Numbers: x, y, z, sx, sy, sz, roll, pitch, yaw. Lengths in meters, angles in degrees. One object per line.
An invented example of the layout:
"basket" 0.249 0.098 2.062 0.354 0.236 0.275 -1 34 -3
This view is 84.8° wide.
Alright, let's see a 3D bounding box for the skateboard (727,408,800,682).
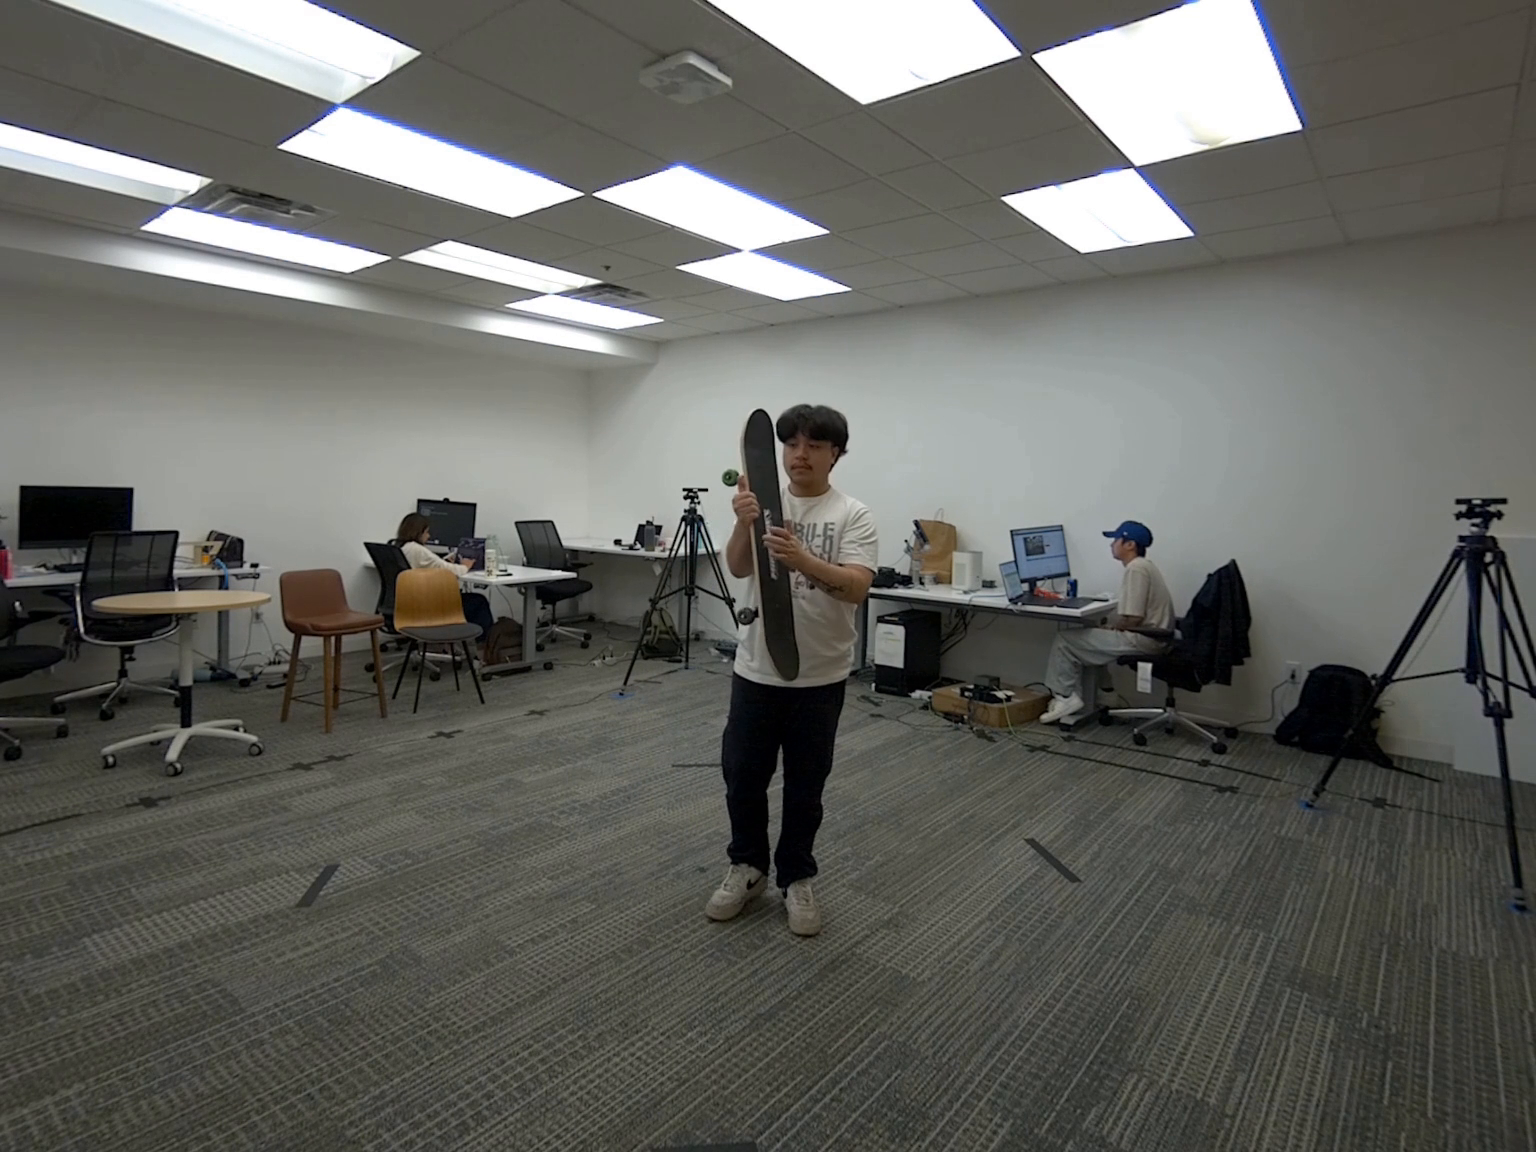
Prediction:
"skateboard" -0.033 -0.089 2.475 0.113 0.789 0.188 -9 -5 31
